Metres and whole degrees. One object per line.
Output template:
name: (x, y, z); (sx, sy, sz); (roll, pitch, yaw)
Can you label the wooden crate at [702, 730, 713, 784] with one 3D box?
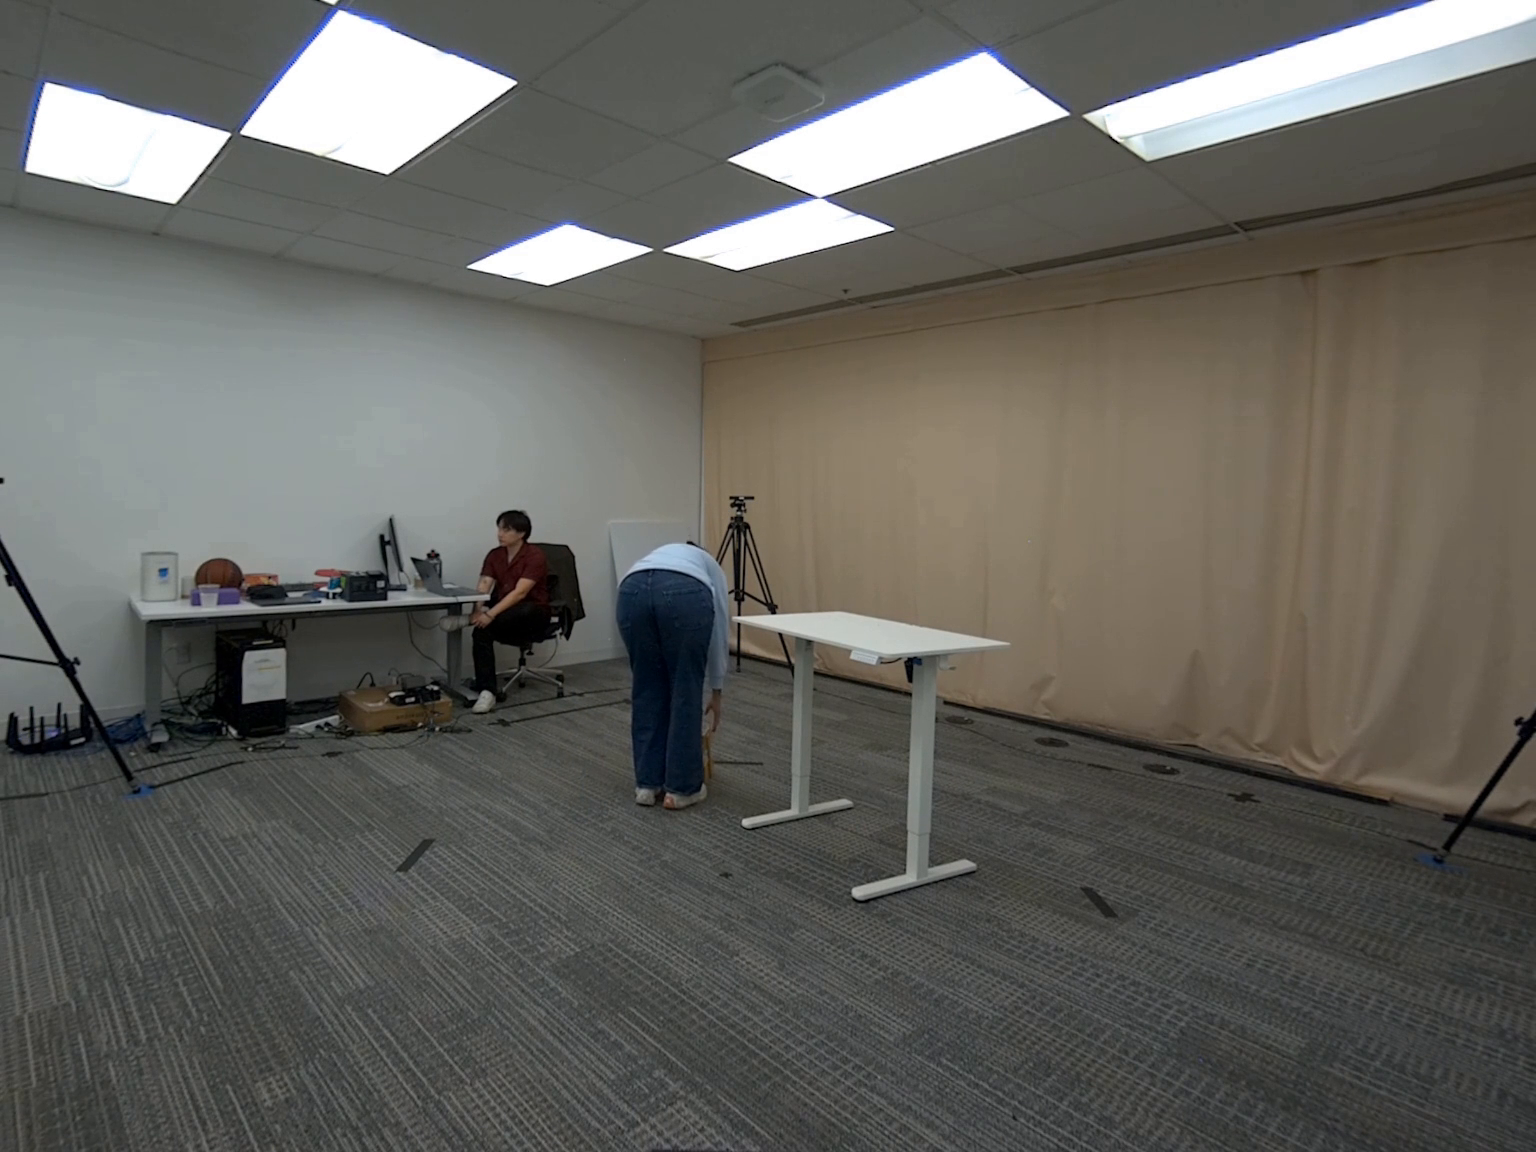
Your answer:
wooden crate: (-0.449, 0.871, 4.205); (0.327, 0.272, 0.301); (3, 5, 7)
